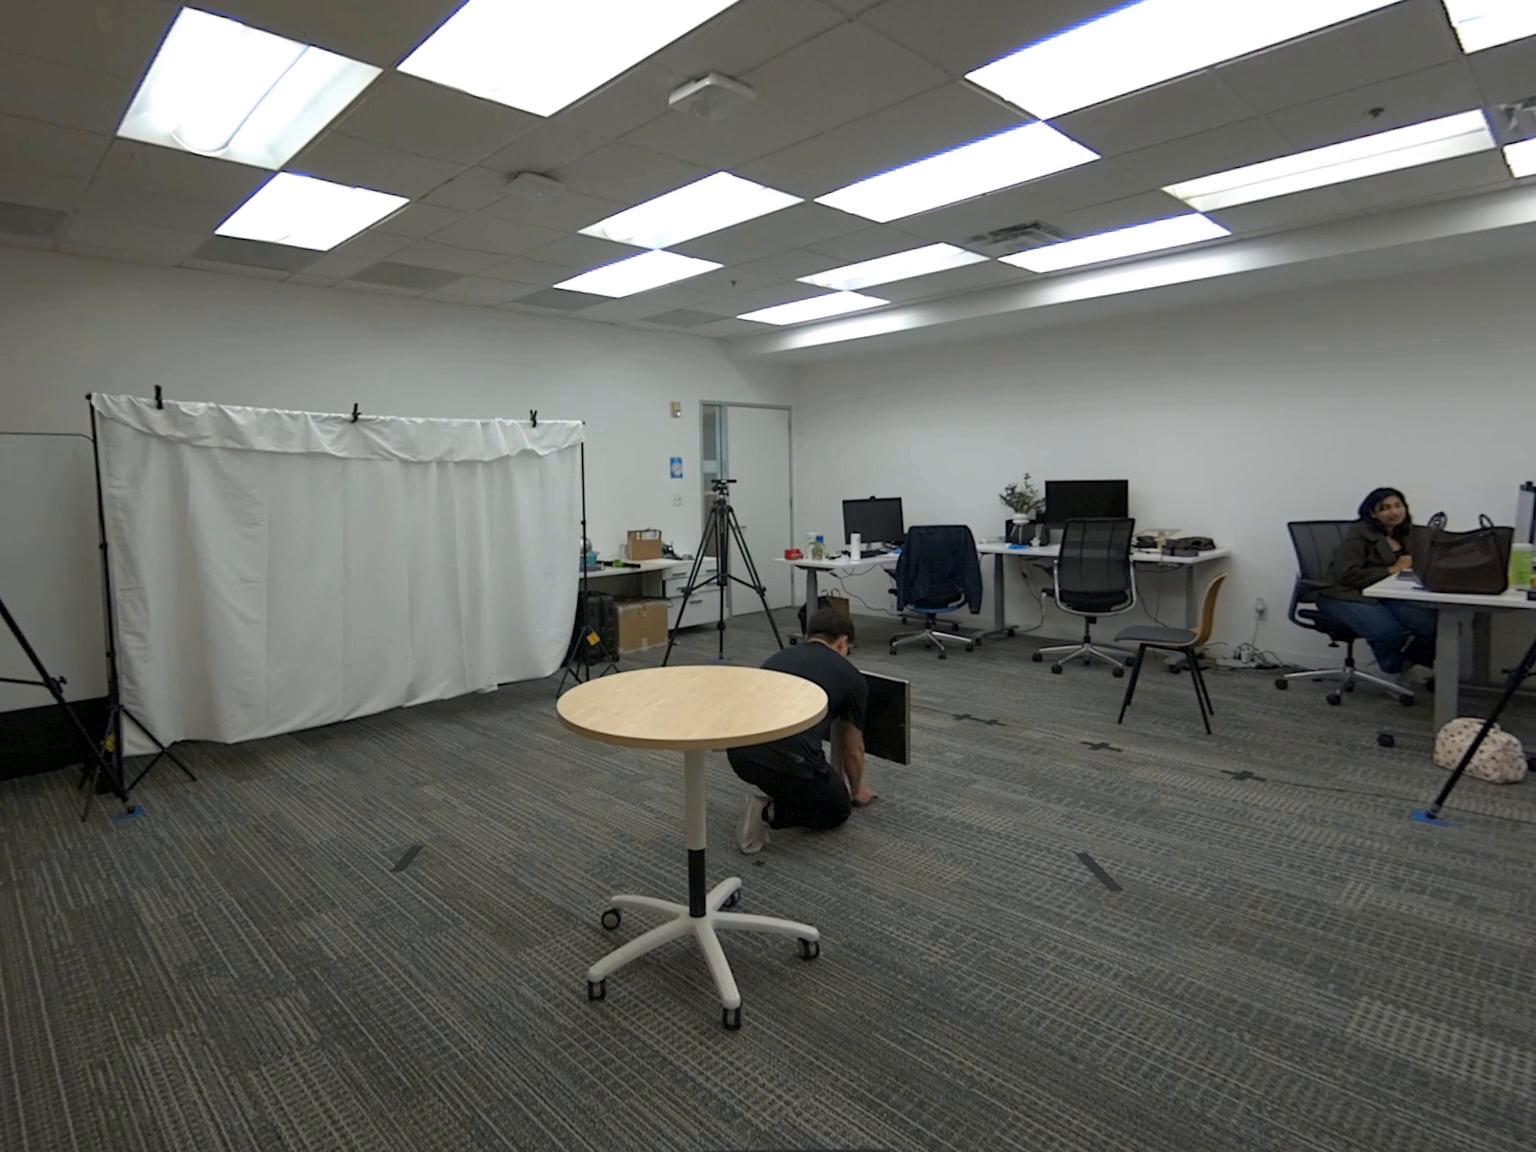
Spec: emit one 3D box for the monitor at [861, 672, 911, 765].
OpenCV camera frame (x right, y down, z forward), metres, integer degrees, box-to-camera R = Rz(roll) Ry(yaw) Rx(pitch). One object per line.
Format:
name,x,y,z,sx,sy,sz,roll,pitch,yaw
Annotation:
monitor,0.363,0.683,3.763,0.556,0.523,0.181,6,0,44
